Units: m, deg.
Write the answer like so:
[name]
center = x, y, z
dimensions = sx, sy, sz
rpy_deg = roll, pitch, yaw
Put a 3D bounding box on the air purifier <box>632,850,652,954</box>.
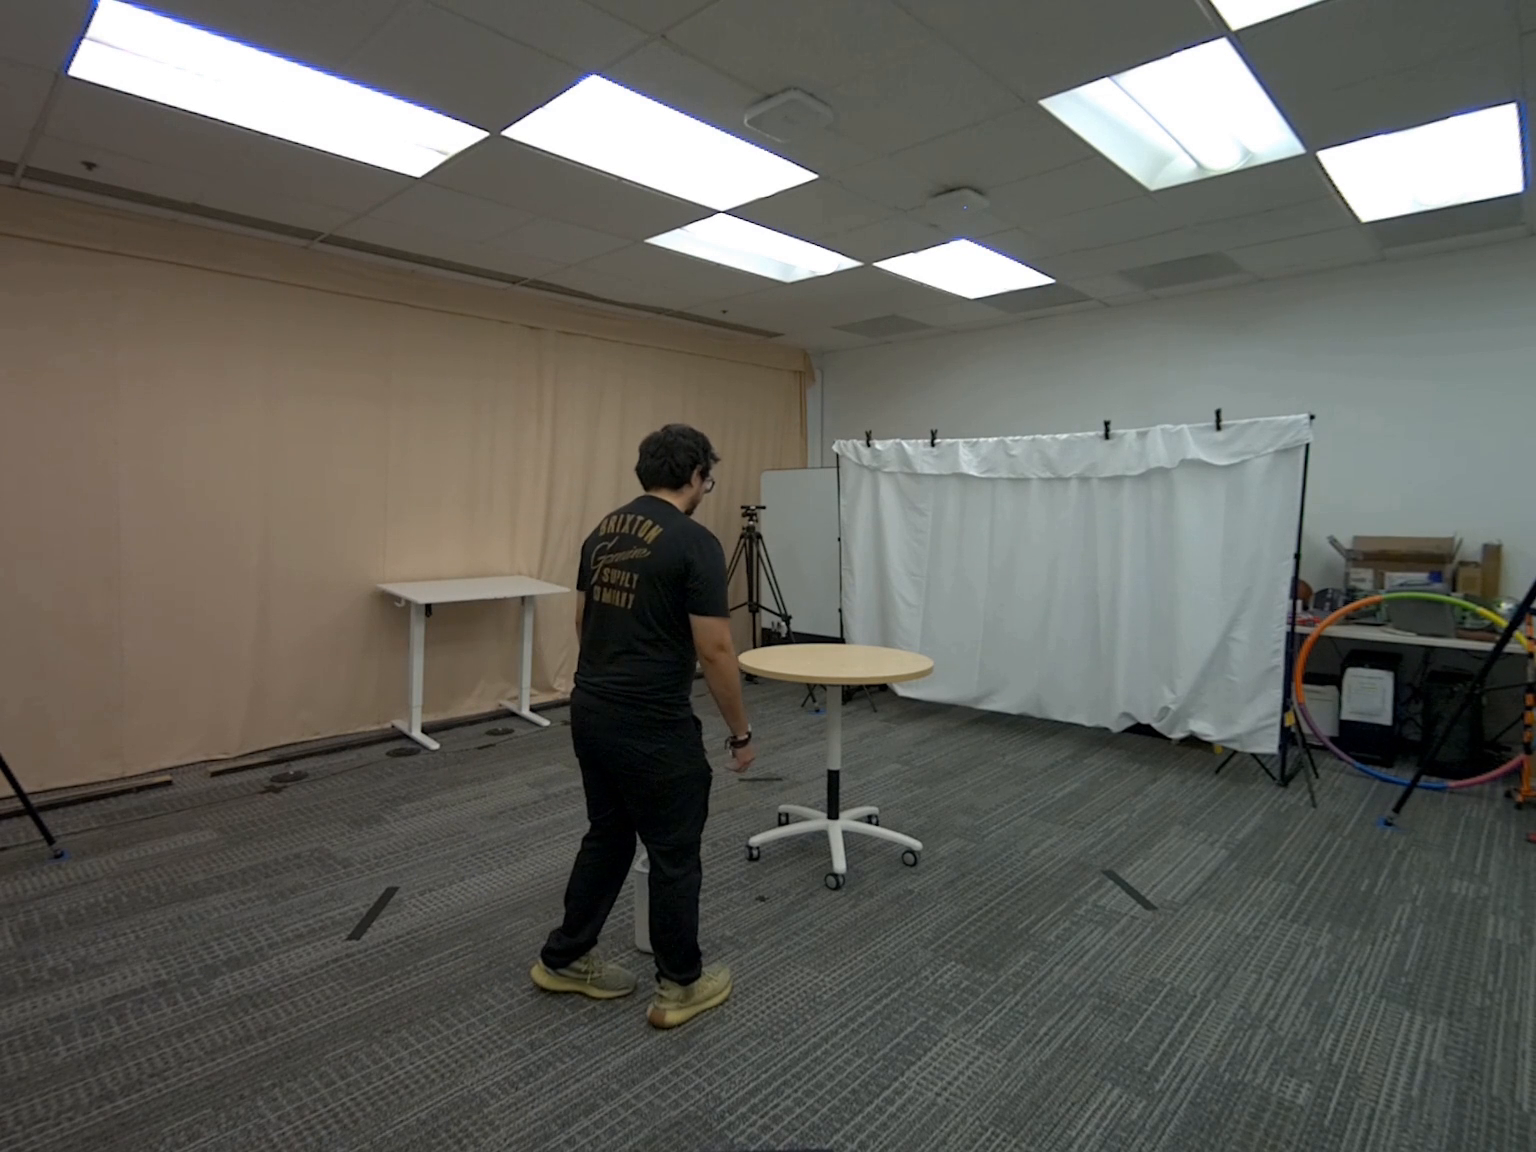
[air purifier]
center = -0.328, 1.039, 2.668
dimensions = 0.170, 0.262, 0.171
rpy_deg = 0, 2, 12
